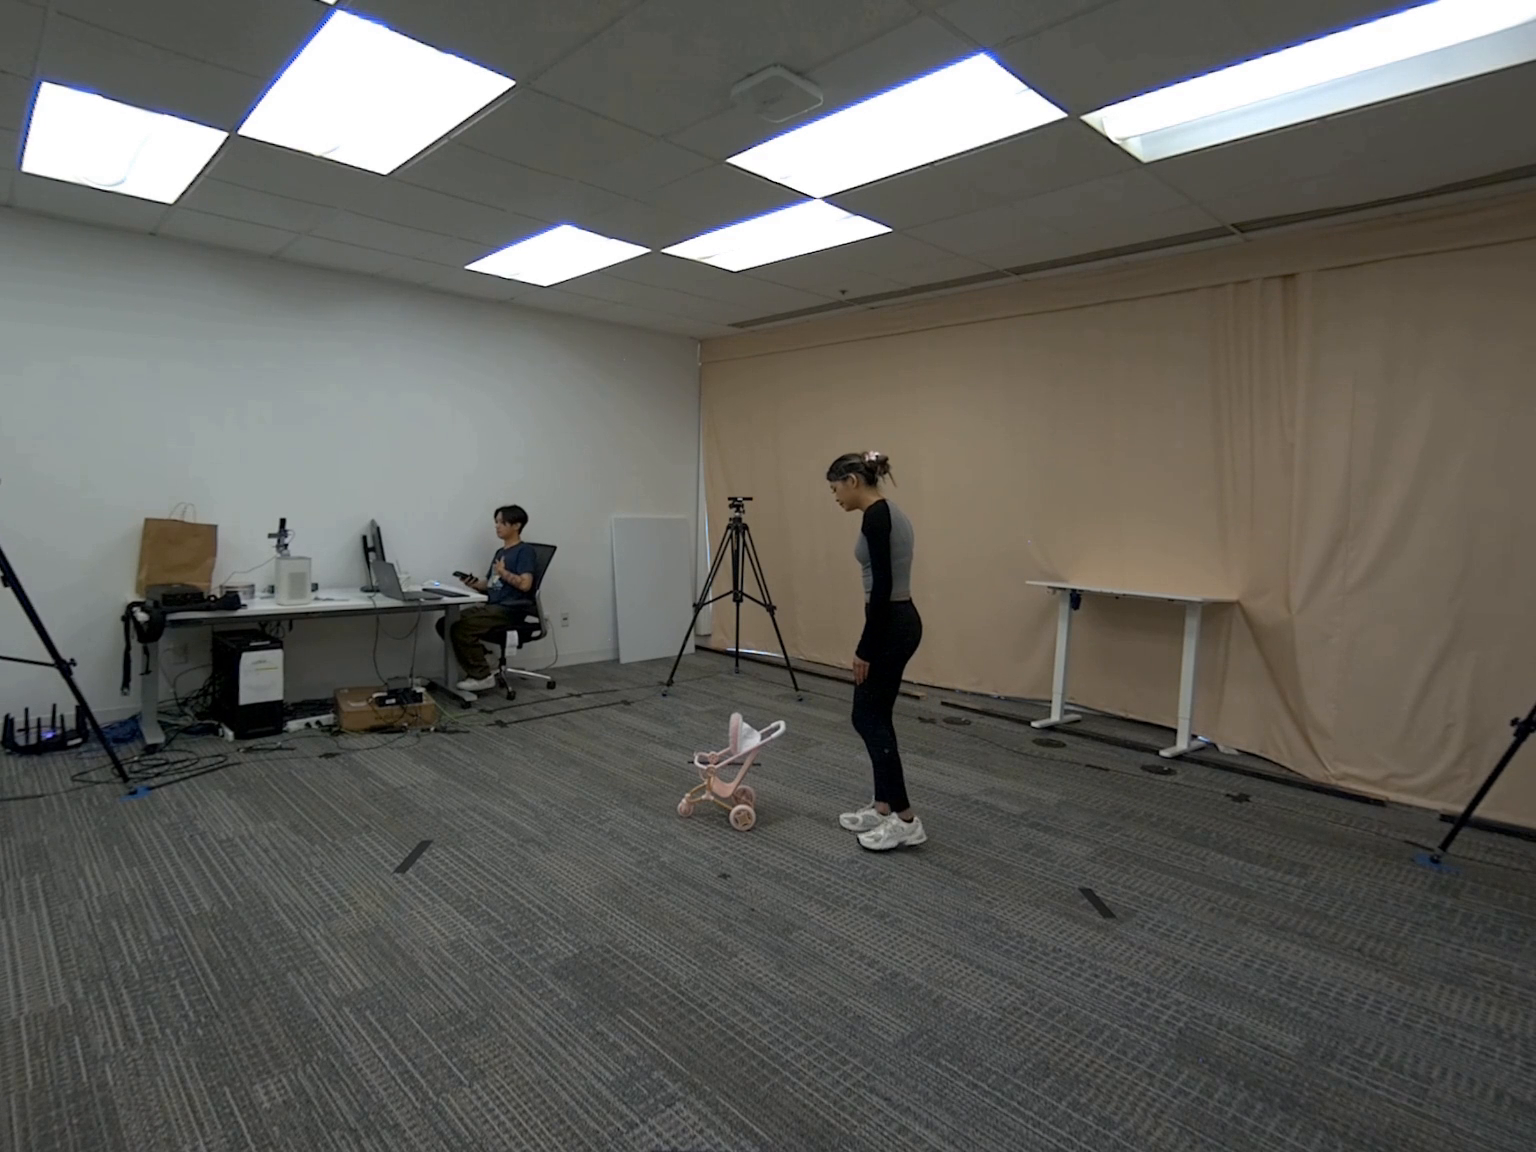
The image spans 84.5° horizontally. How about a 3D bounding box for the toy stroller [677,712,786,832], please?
[{"bbox_3d":[-0.173,0.836,3.662,0.343,0.534,0.280,18,4,5],"label":"toy stroller"}]
